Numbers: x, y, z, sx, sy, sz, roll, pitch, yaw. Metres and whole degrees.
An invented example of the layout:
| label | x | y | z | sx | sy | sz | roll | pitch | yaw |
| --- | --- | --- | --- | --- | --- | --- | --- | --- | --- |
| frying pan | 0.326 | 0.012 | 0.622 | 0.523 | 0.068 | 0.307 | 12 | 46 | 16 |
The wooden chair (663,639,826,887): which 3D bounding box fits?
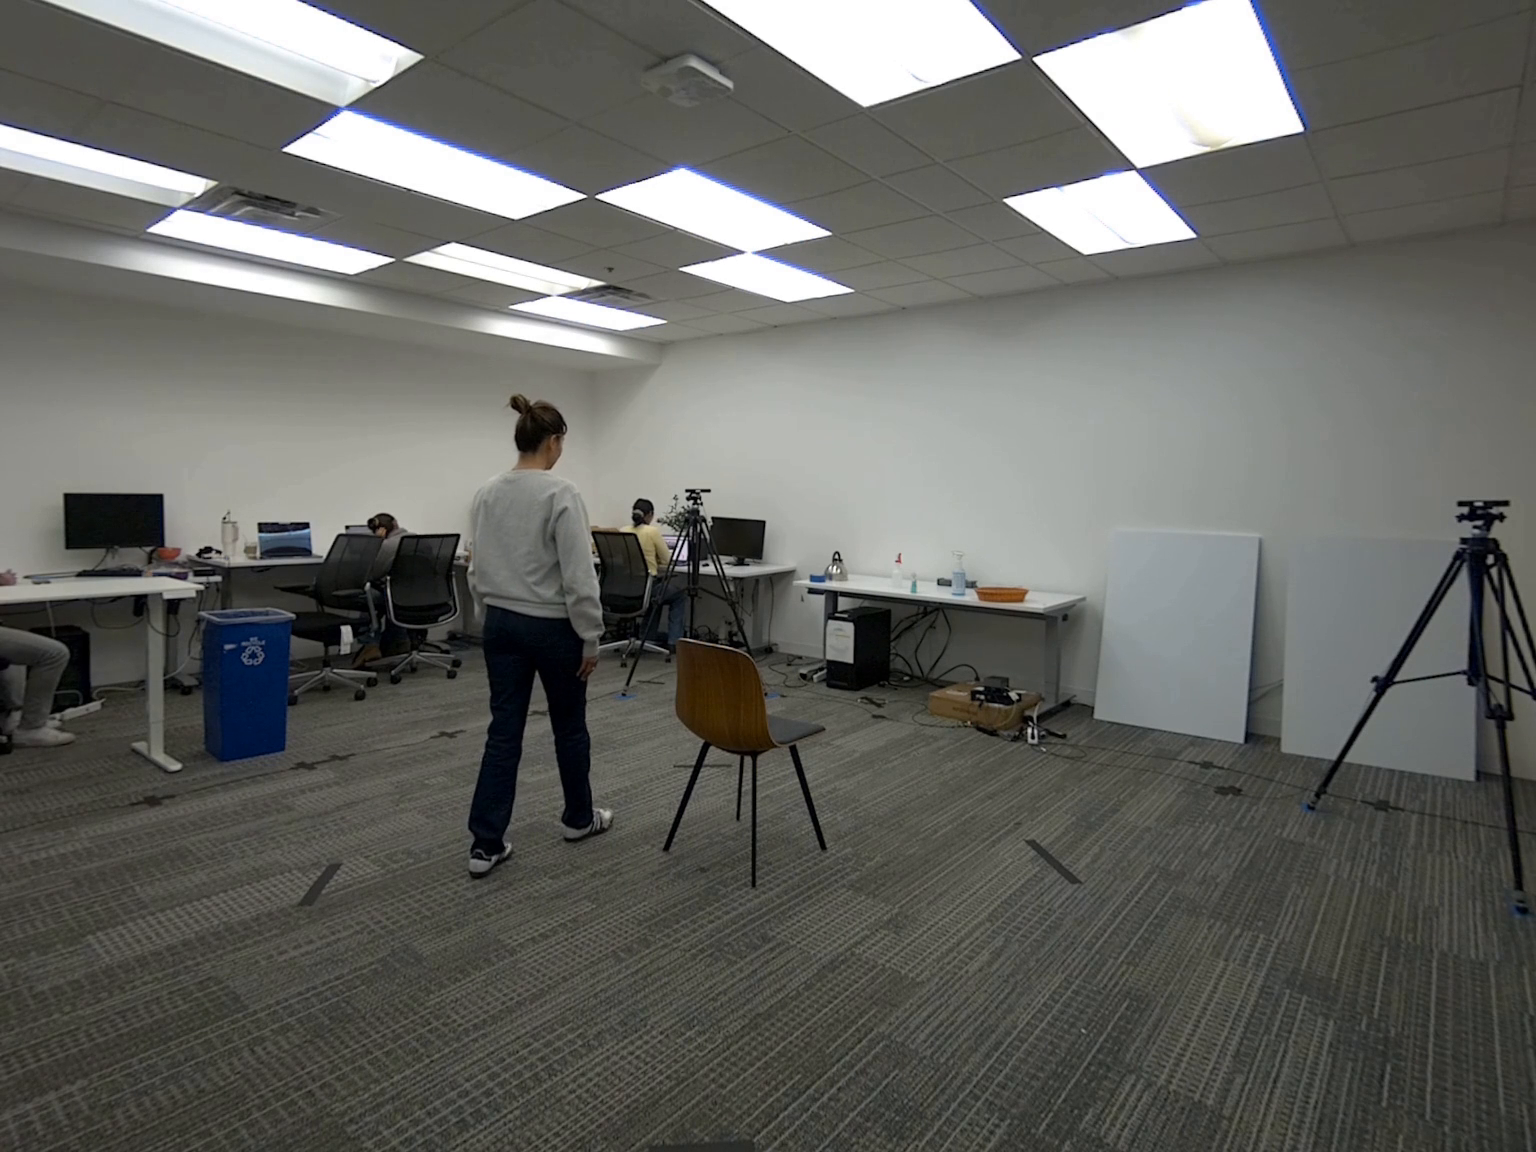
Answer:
| label | x | y | z | sx | sy | sz | roll | pitch | yaw |
| --- | --- | --- | --- | --- | --- | --- | --- | --- | --- |
| wooden chair | -0.081 | 0.636 | 3.268 | 0.494 | 0.872 | 0.509 | 4 | 8 | 38 |
